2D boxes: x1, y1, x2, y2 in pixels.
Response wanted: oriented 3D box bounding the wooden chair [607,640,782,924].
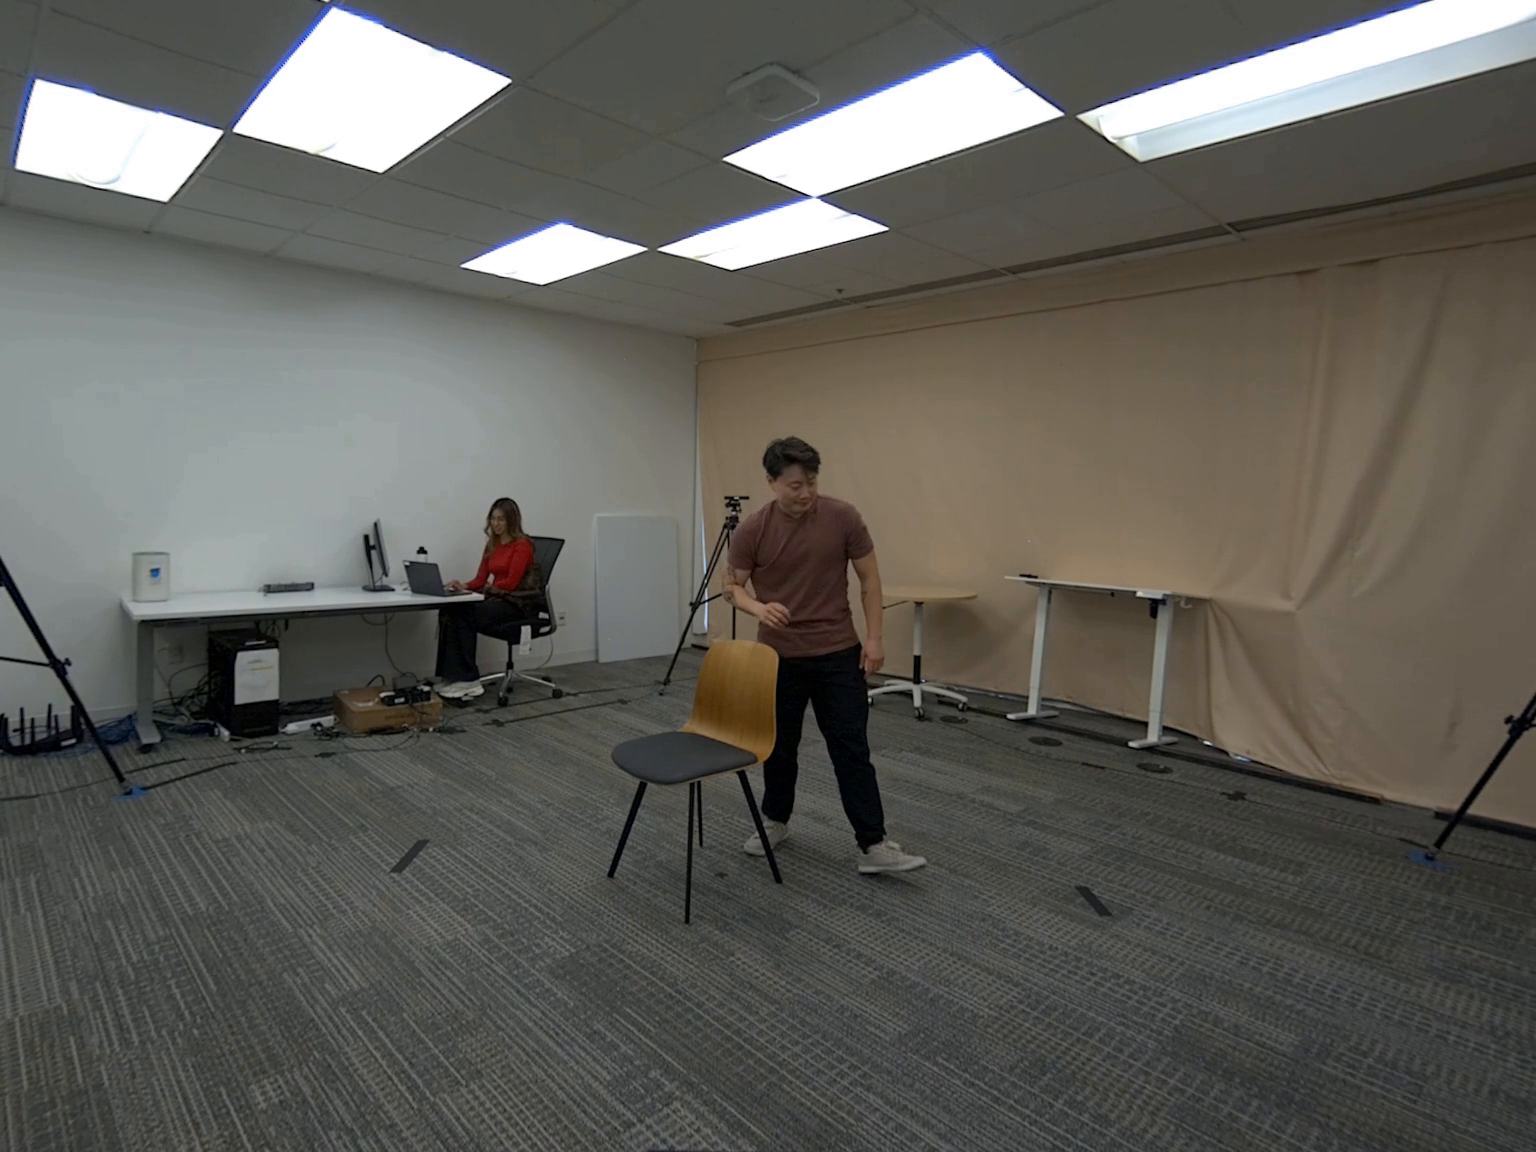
[{"bbox_3d":[-0.268,0.685,3.010,0.510,0.877,0.490,4,1,-45],"label":"wooden chair"}]
